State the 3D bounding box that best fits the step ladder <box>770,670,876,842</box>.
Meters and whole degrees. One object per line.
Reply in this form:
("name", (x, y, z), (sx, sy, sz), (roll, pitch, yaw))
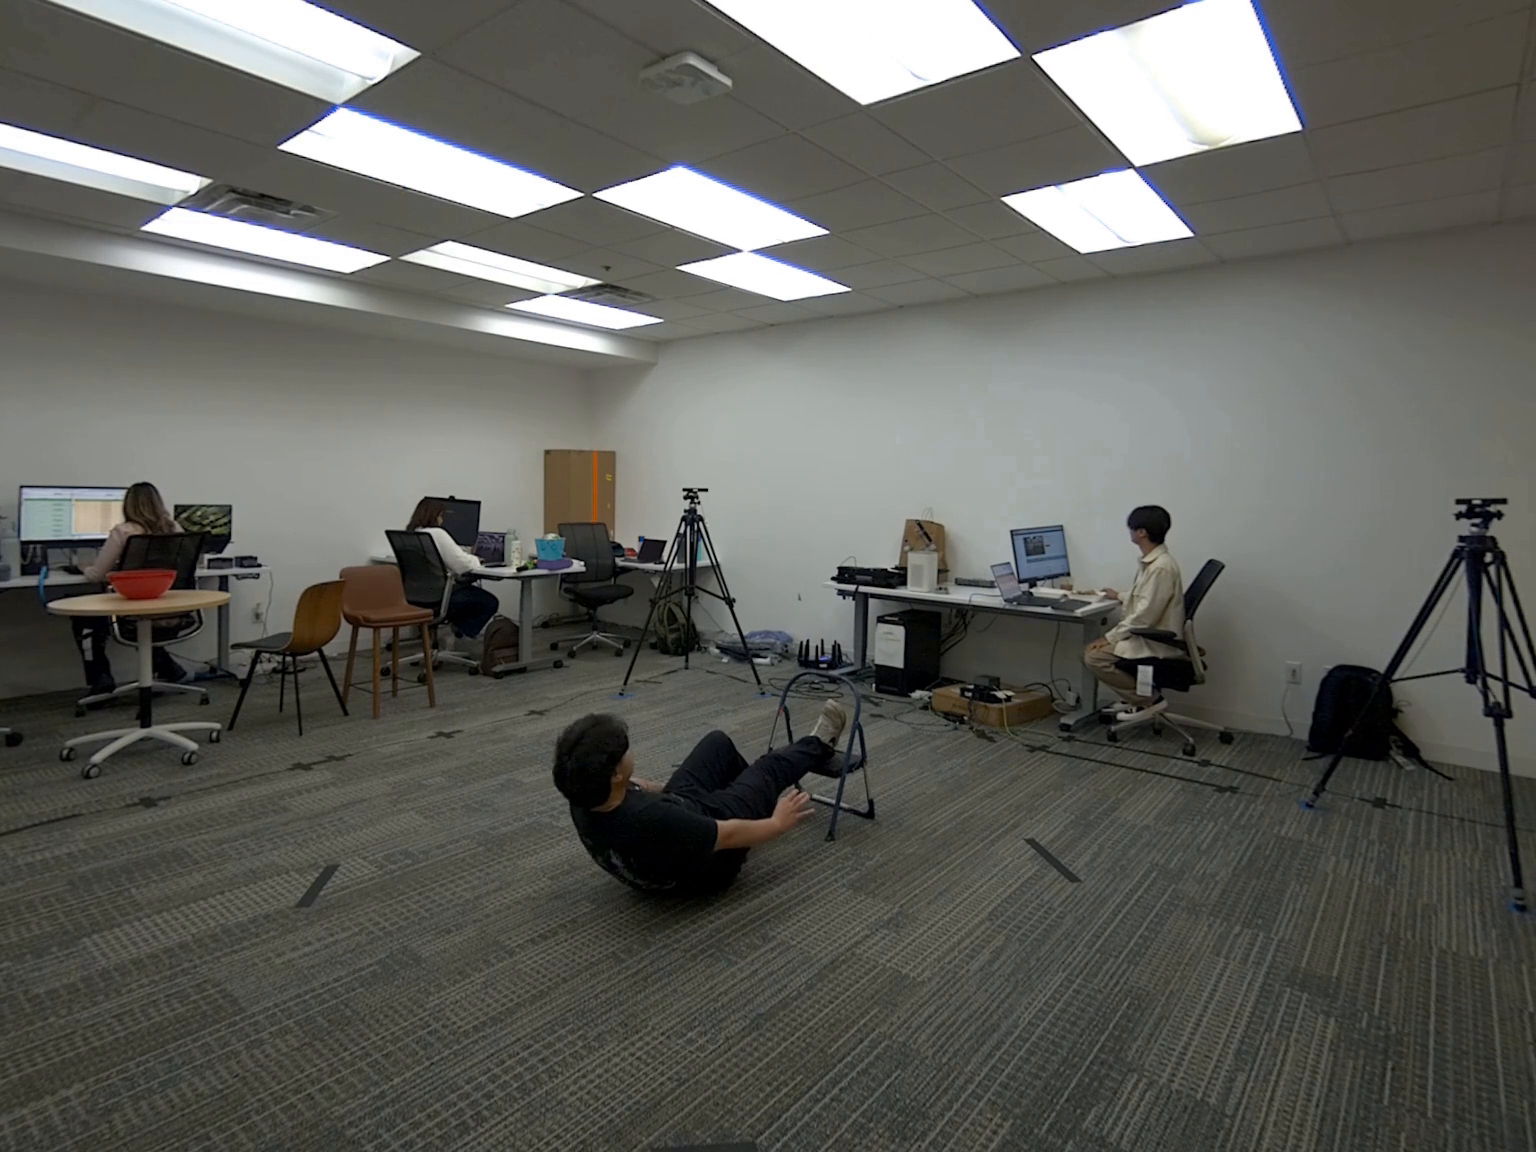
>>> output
("step ladder", (0.195, 0.726, 3.638), (0.445, 0.604, 0.339), (4, 5, 40))
